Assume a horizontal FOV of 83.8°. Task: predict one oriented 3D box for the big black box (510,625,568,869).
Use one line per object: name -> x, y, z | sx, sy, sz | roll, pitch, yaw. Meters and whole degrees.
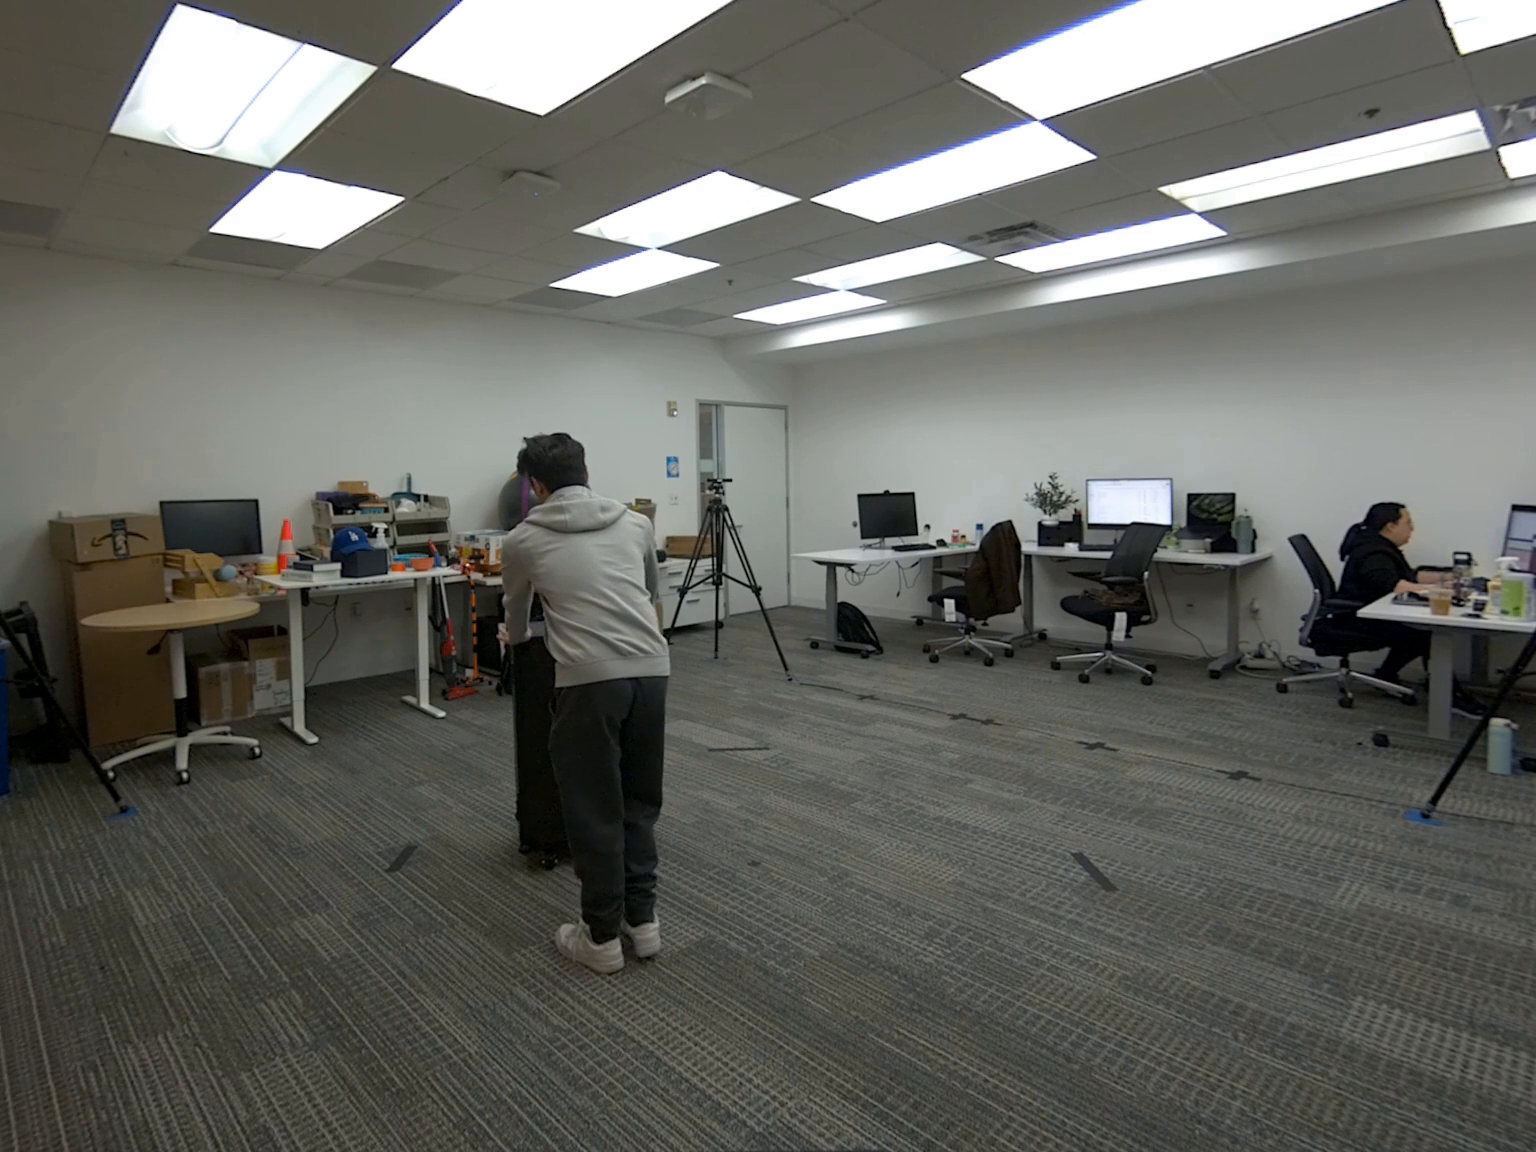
big black box -> -0.730, 0.615, 3.280 | 0.513, 0.860, 0.403 | -2, 2, -17
